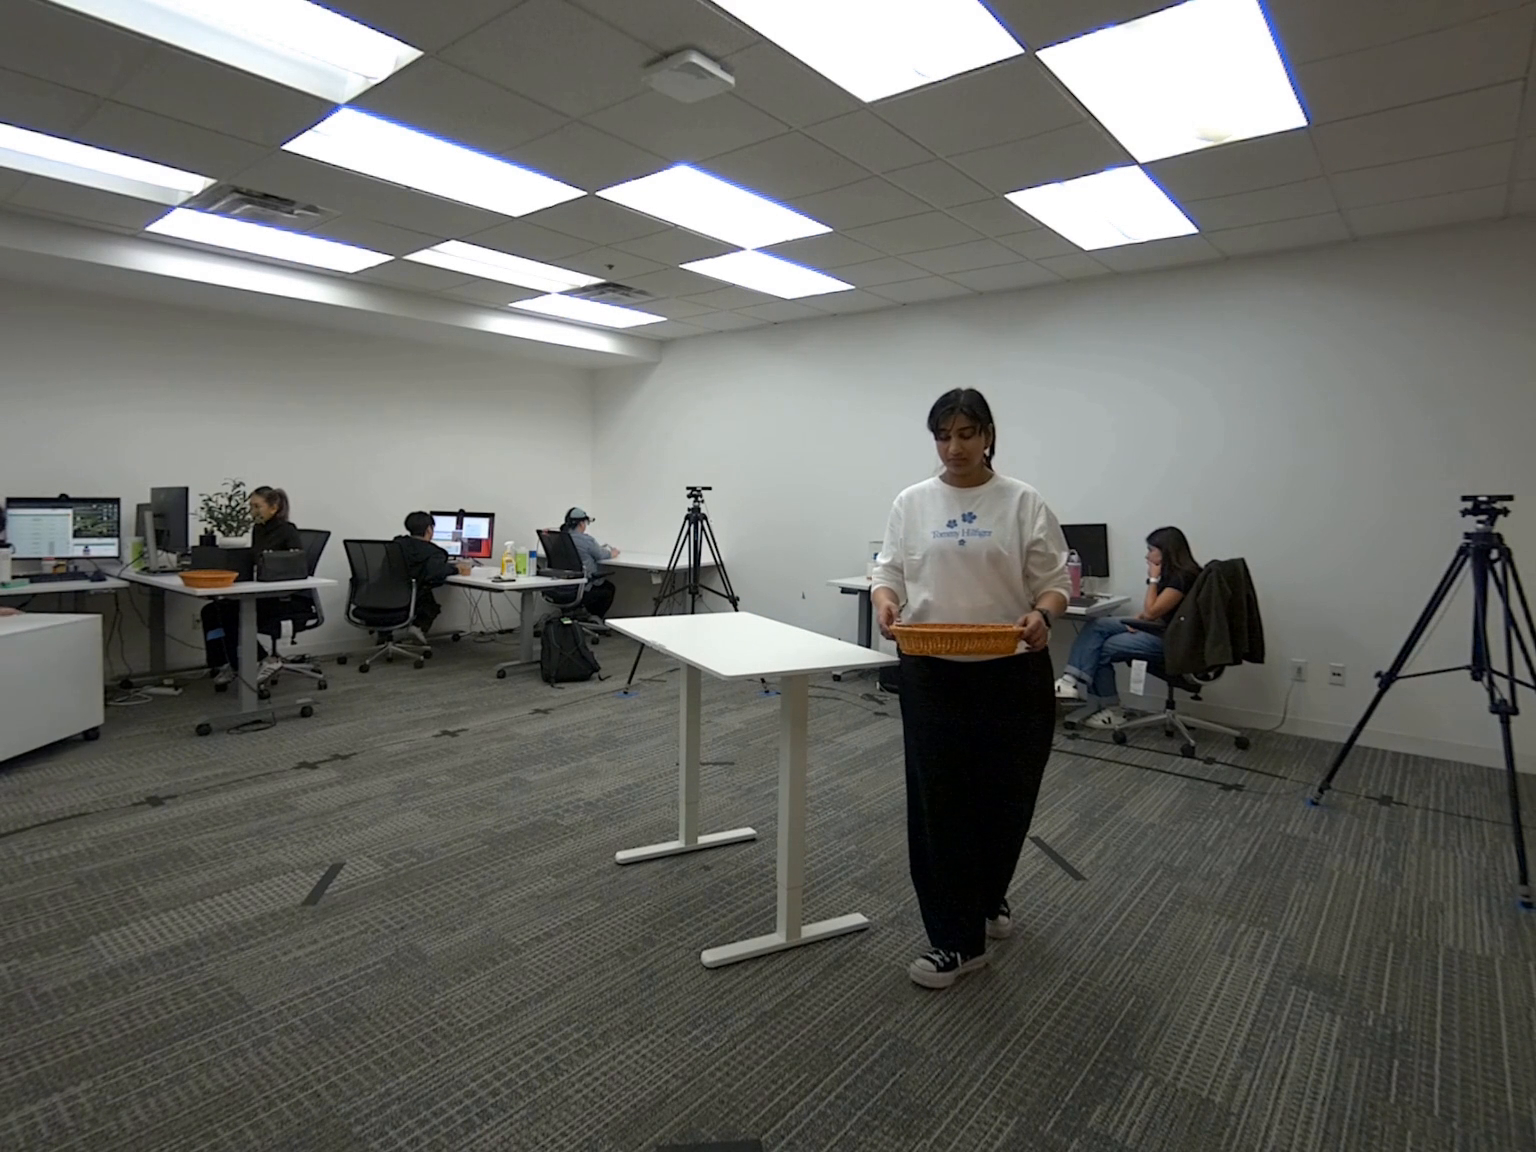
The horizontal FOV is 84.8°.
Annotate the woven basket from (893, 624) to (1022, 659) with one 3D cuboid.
[{"bbox_3d":[0.520,0.168,2.259,0.348,0.073,0.254,-3,0,-7],"label":"woven basket"}]
